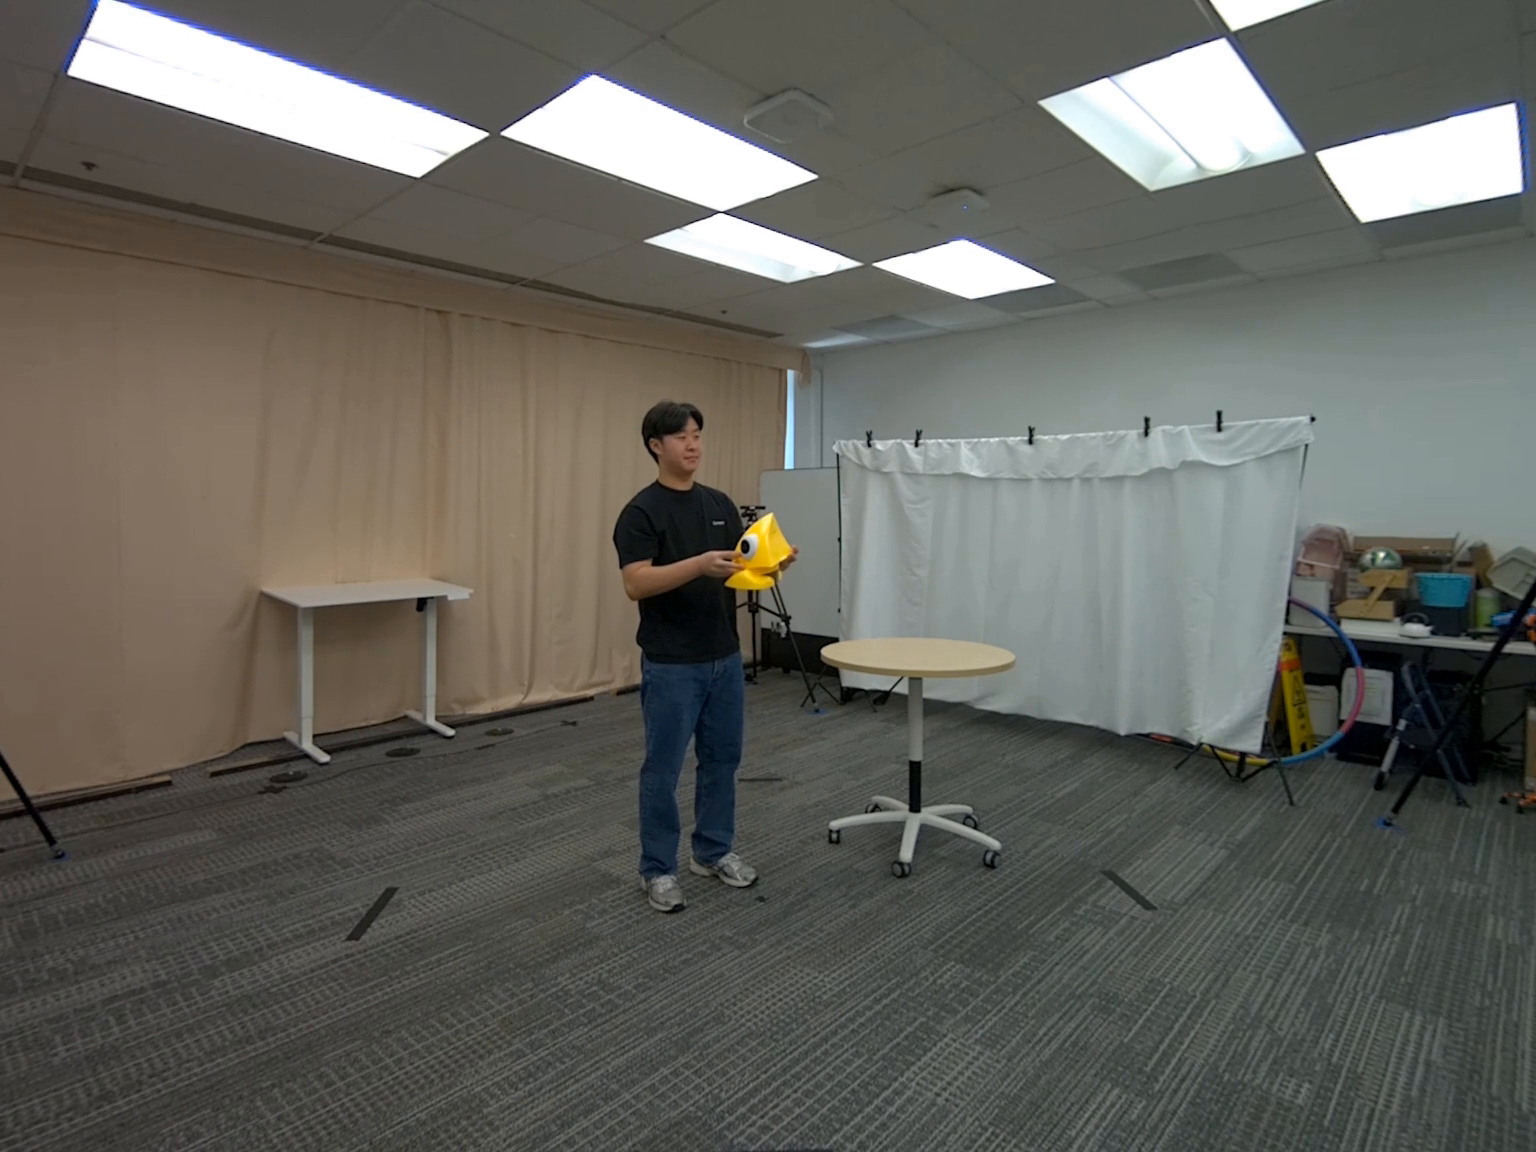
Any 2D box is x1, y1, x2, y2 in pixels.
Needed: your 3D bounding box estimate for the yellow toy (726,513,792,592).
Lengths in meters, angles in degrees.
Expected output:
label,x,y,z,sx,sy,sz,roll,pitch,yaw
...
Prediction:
label,x,y,z,sx,sy,sz,roll,pitch,yaw
yellow toy,-0.034,-0.092,2.748,0.197,0.228,0.202,3,15,19
